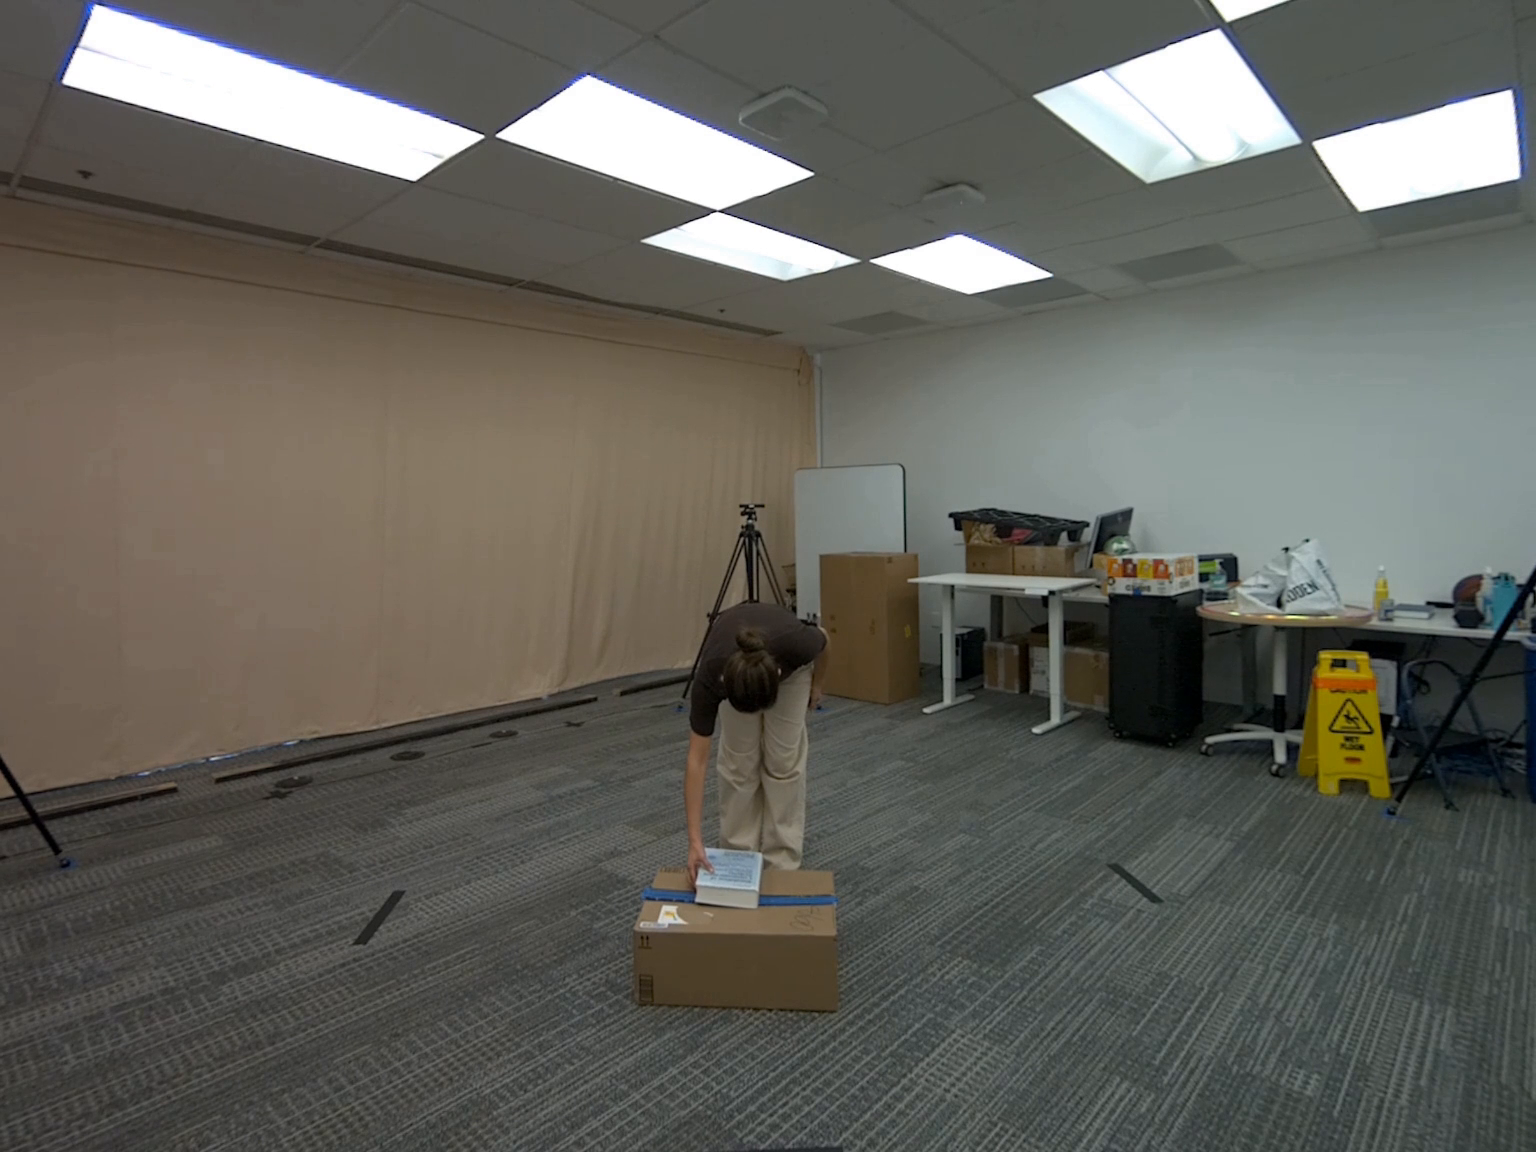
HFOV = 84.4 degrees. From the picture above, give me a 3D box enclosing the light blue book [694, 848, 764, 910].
[{"bbox_3d":[-0.107,0.923,2.598,0.192,0.059,0.260,3,6,4],"label":"light blue book"}]
